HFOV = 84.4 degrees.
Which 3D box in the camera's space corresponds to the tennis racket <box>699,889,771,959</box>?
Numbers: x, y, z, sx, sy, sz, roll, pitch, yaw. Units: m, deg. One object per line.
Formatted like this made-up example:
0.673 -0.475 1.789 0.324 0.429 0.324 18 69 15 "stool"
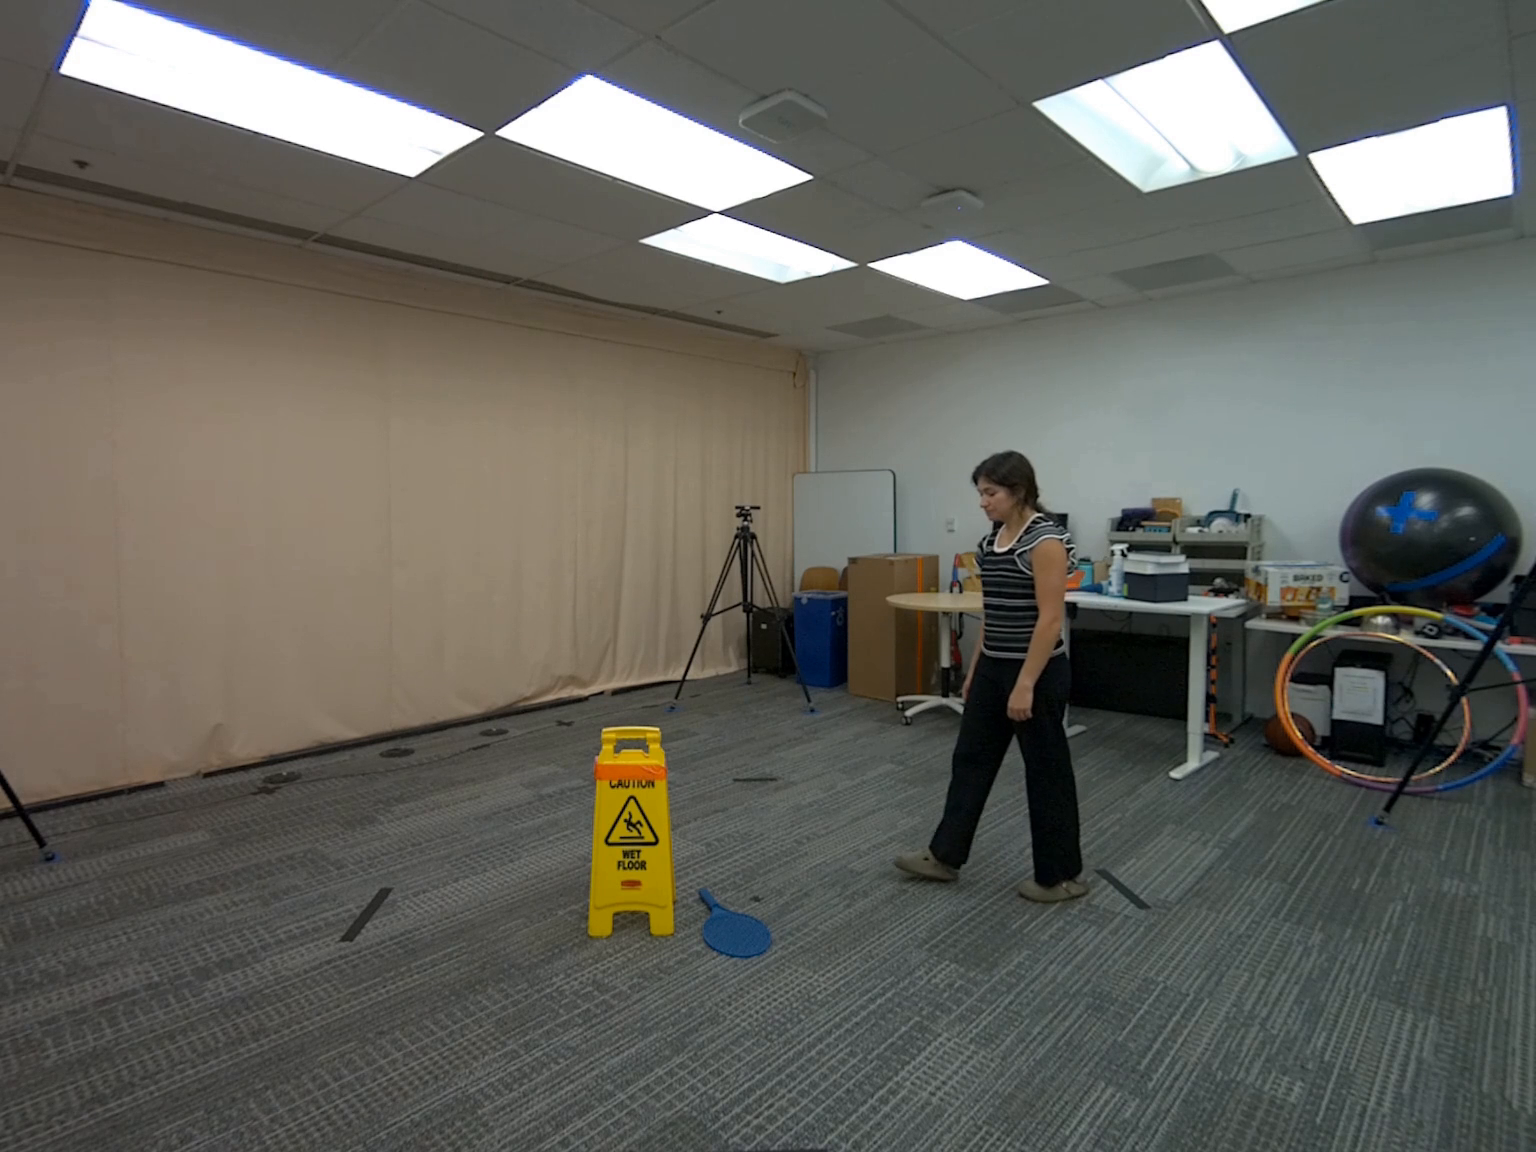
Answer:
-0.131 1.140 2.800 0.209 0.031 0.444 -3 7 -22 "tennis racket"
